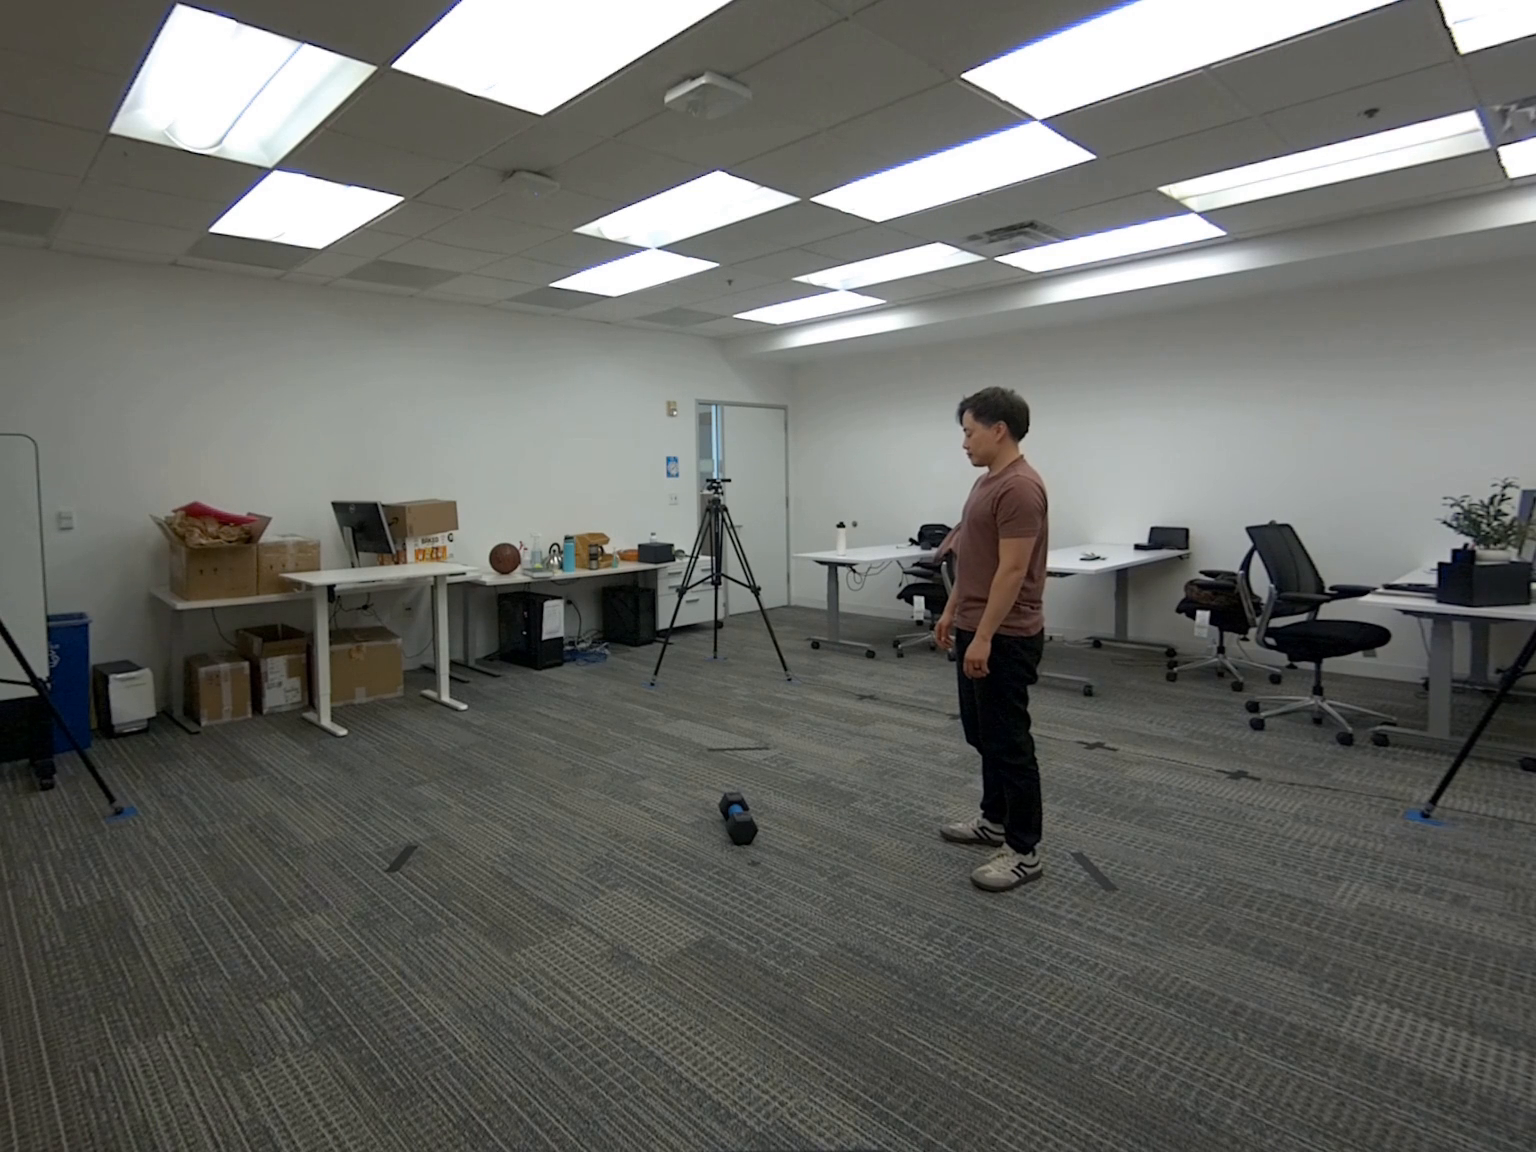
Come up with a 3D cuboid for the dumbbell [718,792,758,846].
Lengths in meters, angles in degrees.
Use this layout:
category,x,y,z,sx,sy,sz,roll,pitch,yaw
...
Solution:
category,x,y,z,sx,sy,sz,roll,pitch,yaw
dumbbell,-0.118,0.960,3.397,0.107,0.123,0.297,29,0,-11
